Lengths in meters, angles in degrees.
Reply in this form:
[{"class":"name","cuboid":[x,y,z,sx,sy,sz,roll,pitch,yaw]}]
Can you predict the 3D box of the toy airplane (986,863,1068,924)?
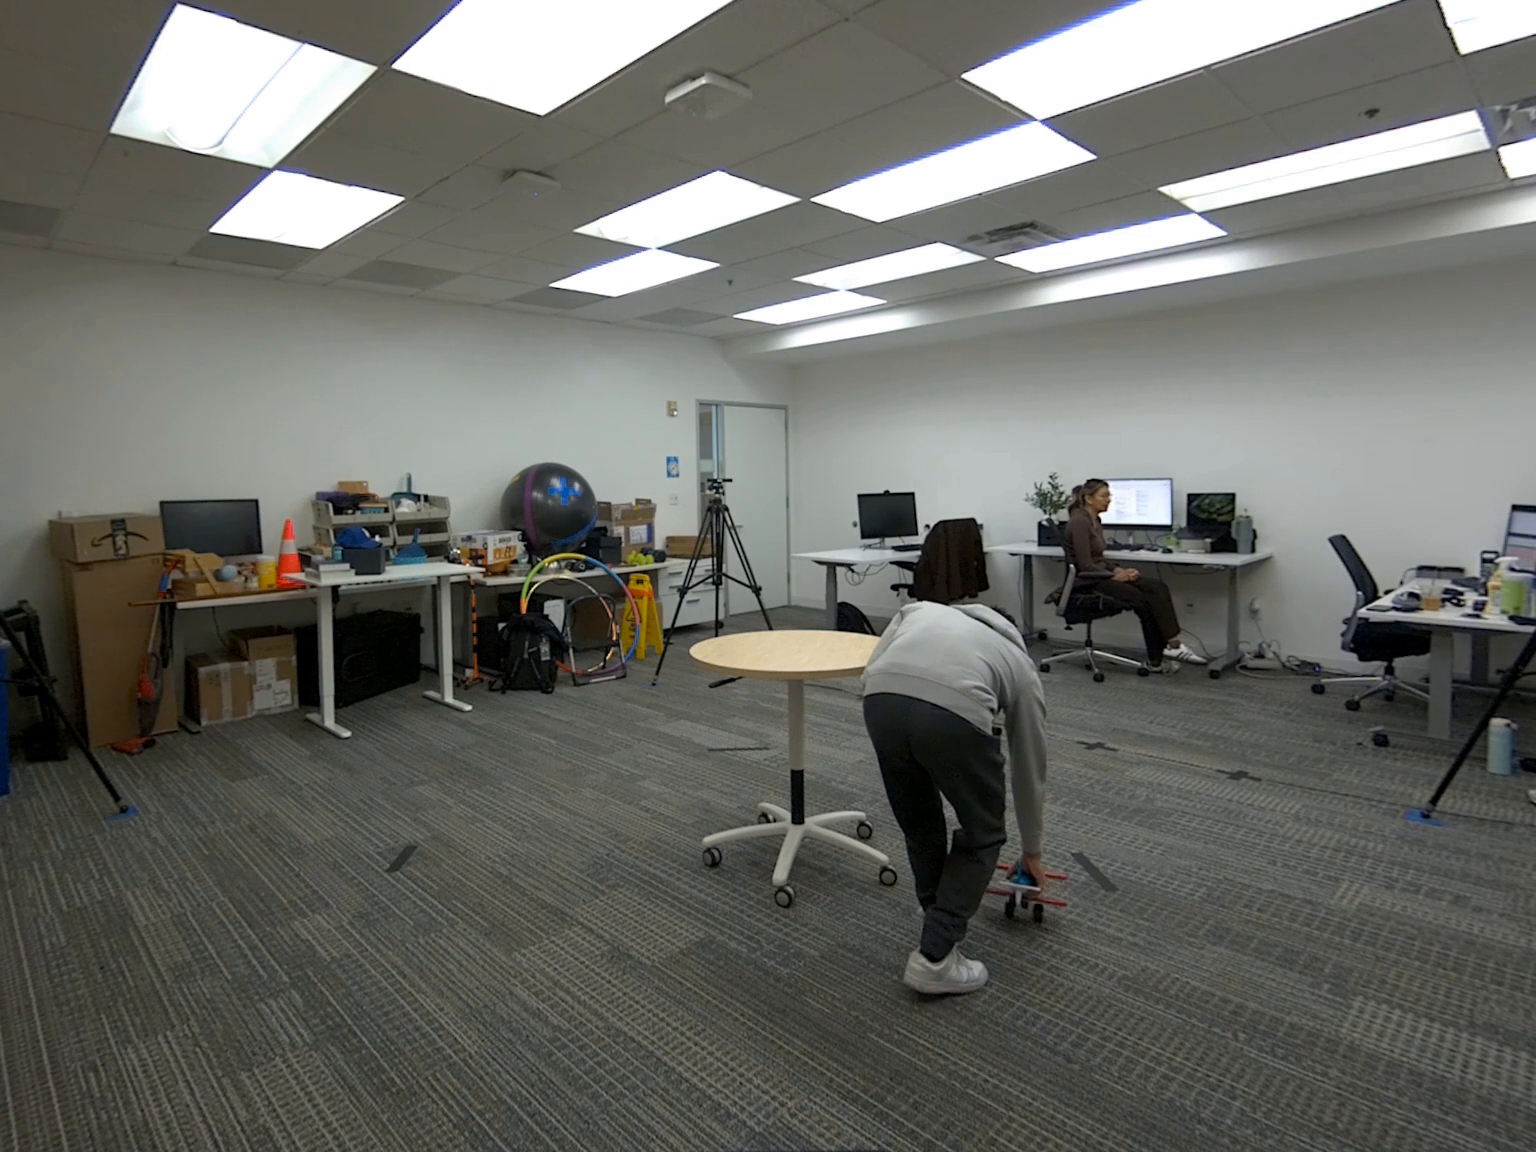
[{"class":"toy airplane","cuboid":[0.811,0.971,2.649,0.251,0.159,0.255,16,-28,-1]}]
